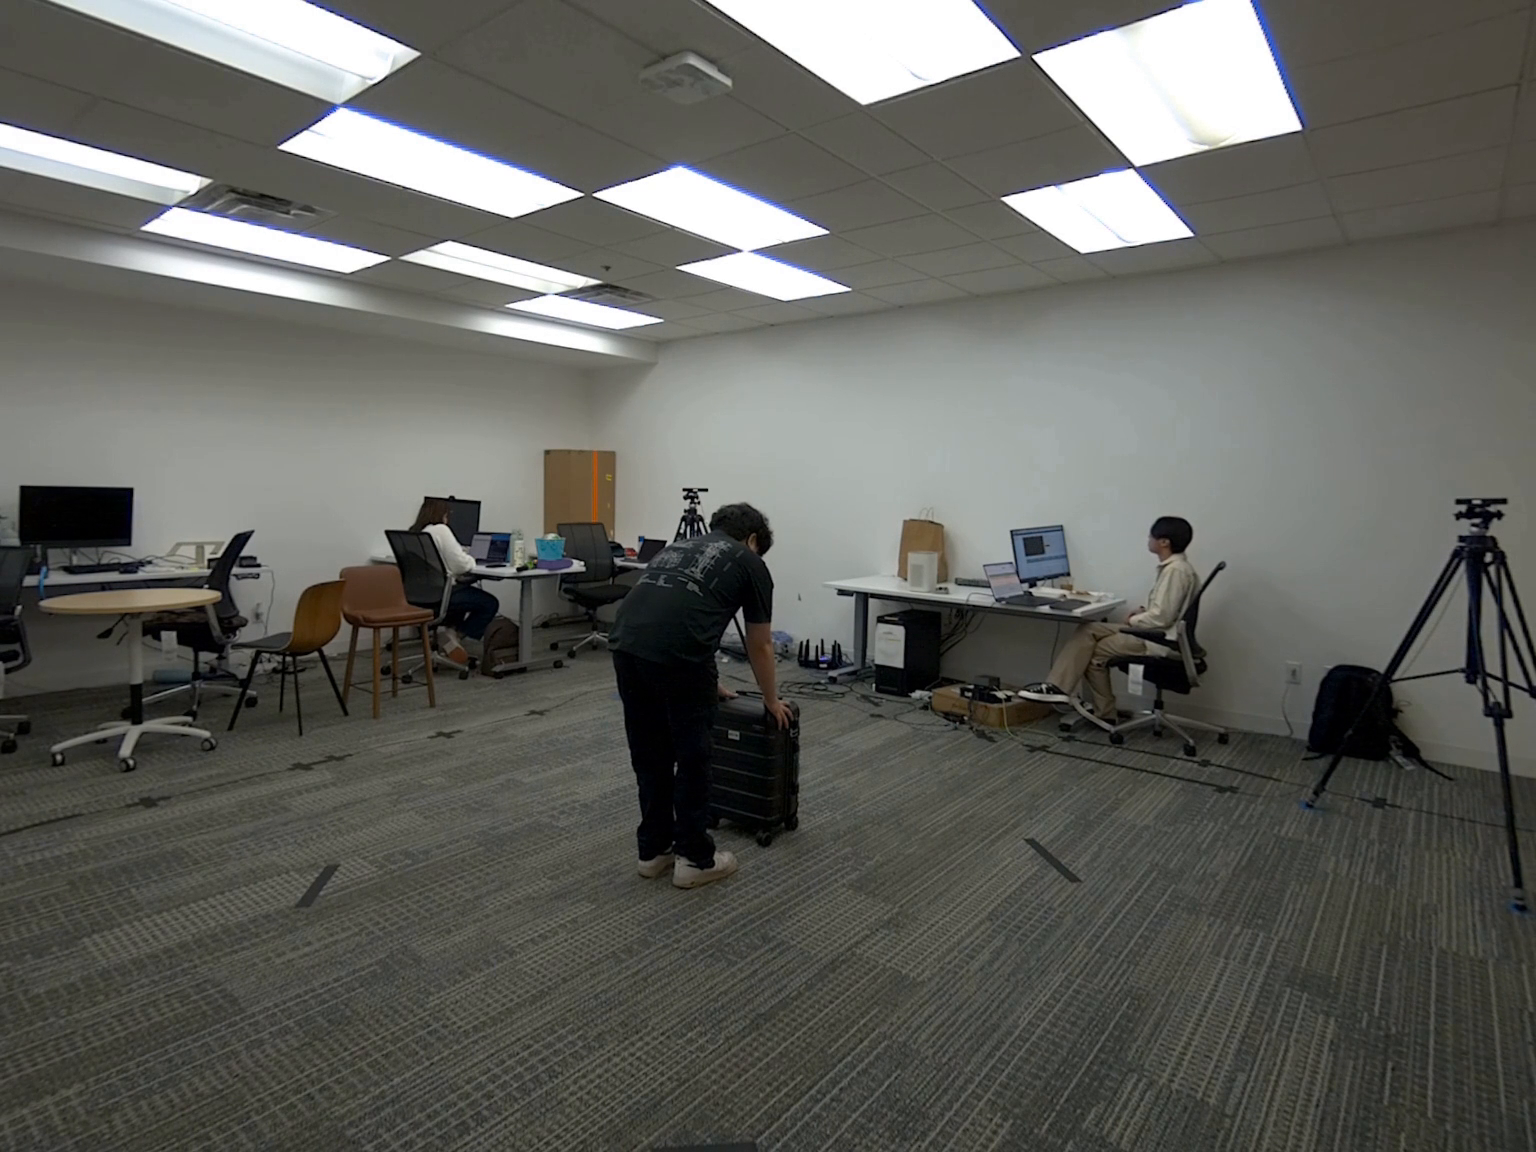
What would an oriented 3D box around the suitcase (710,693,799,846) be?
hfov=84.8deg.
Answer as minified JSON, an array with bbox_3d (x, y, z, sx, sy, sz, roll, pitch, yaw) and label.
[{"bbox_3d":[-0.070,0.761,3.507,0.387,0.548,0.241,3,2,31],"label":"suitcase"}]
